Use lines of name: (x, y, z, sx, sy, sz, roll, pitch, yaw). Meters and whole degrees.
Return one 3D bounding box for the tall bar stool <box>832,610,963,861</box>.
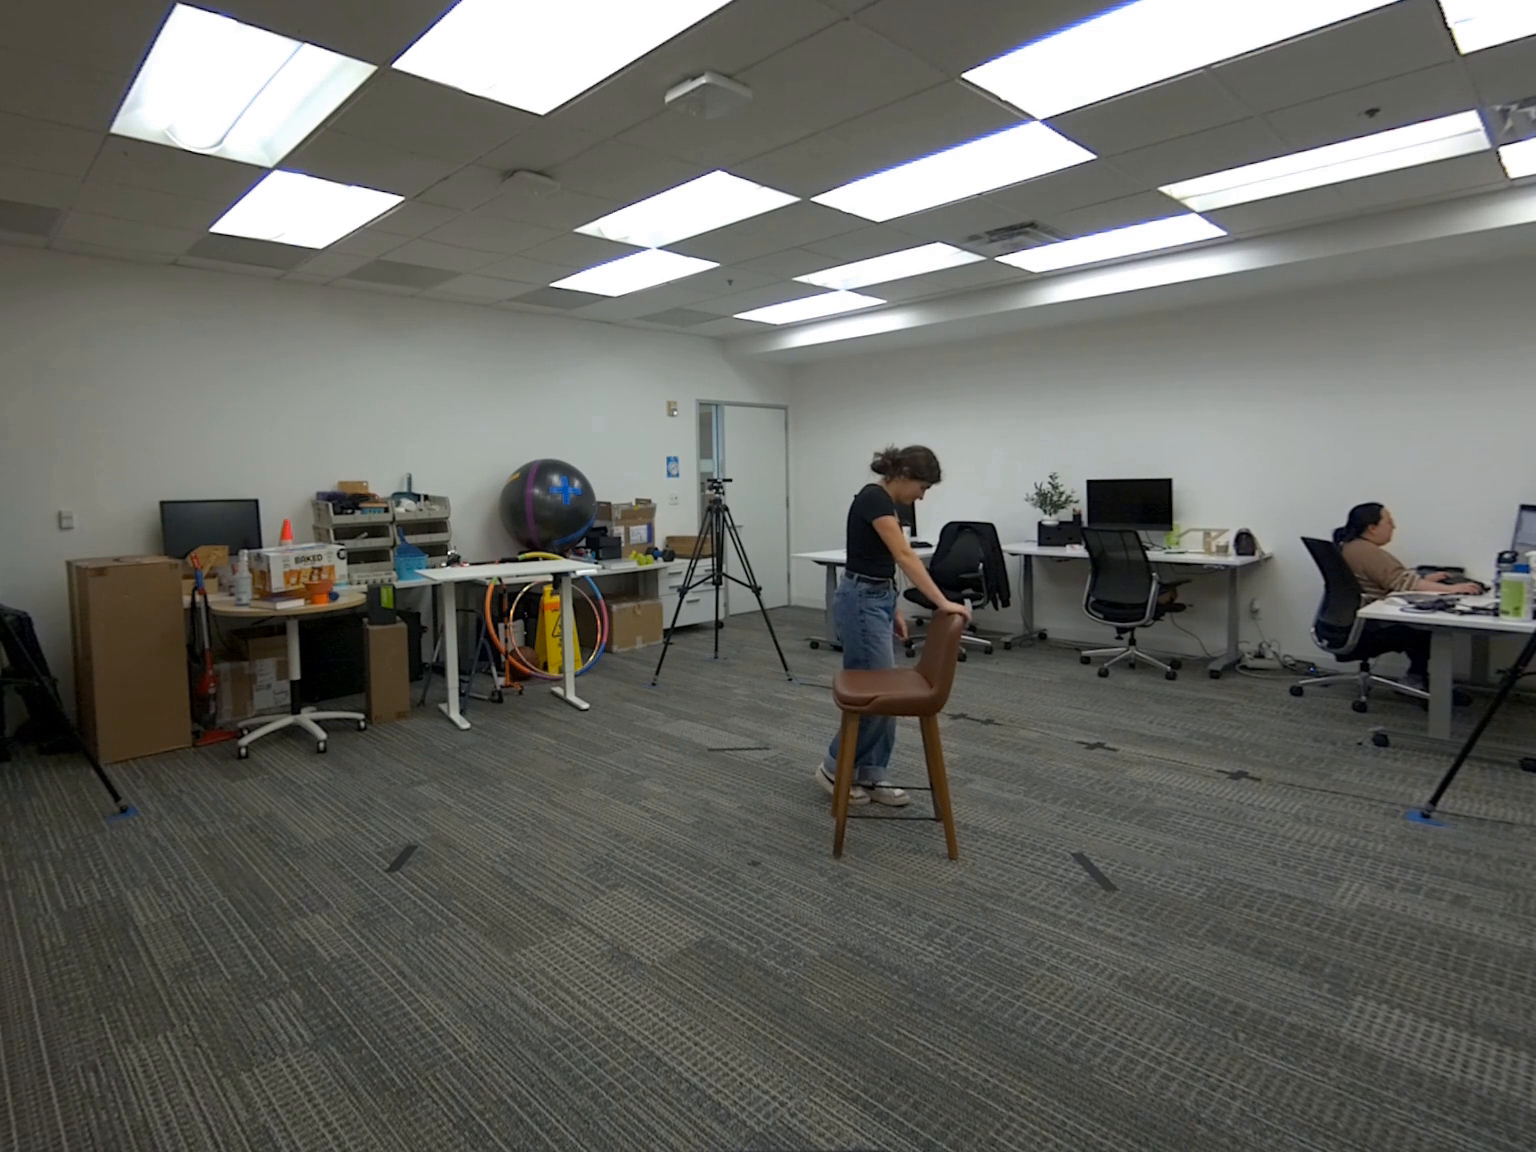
tall bar stool: (0.482, 0.578, 3.288, 0.470, 0.887, 0.456, 2, 4, 4)
